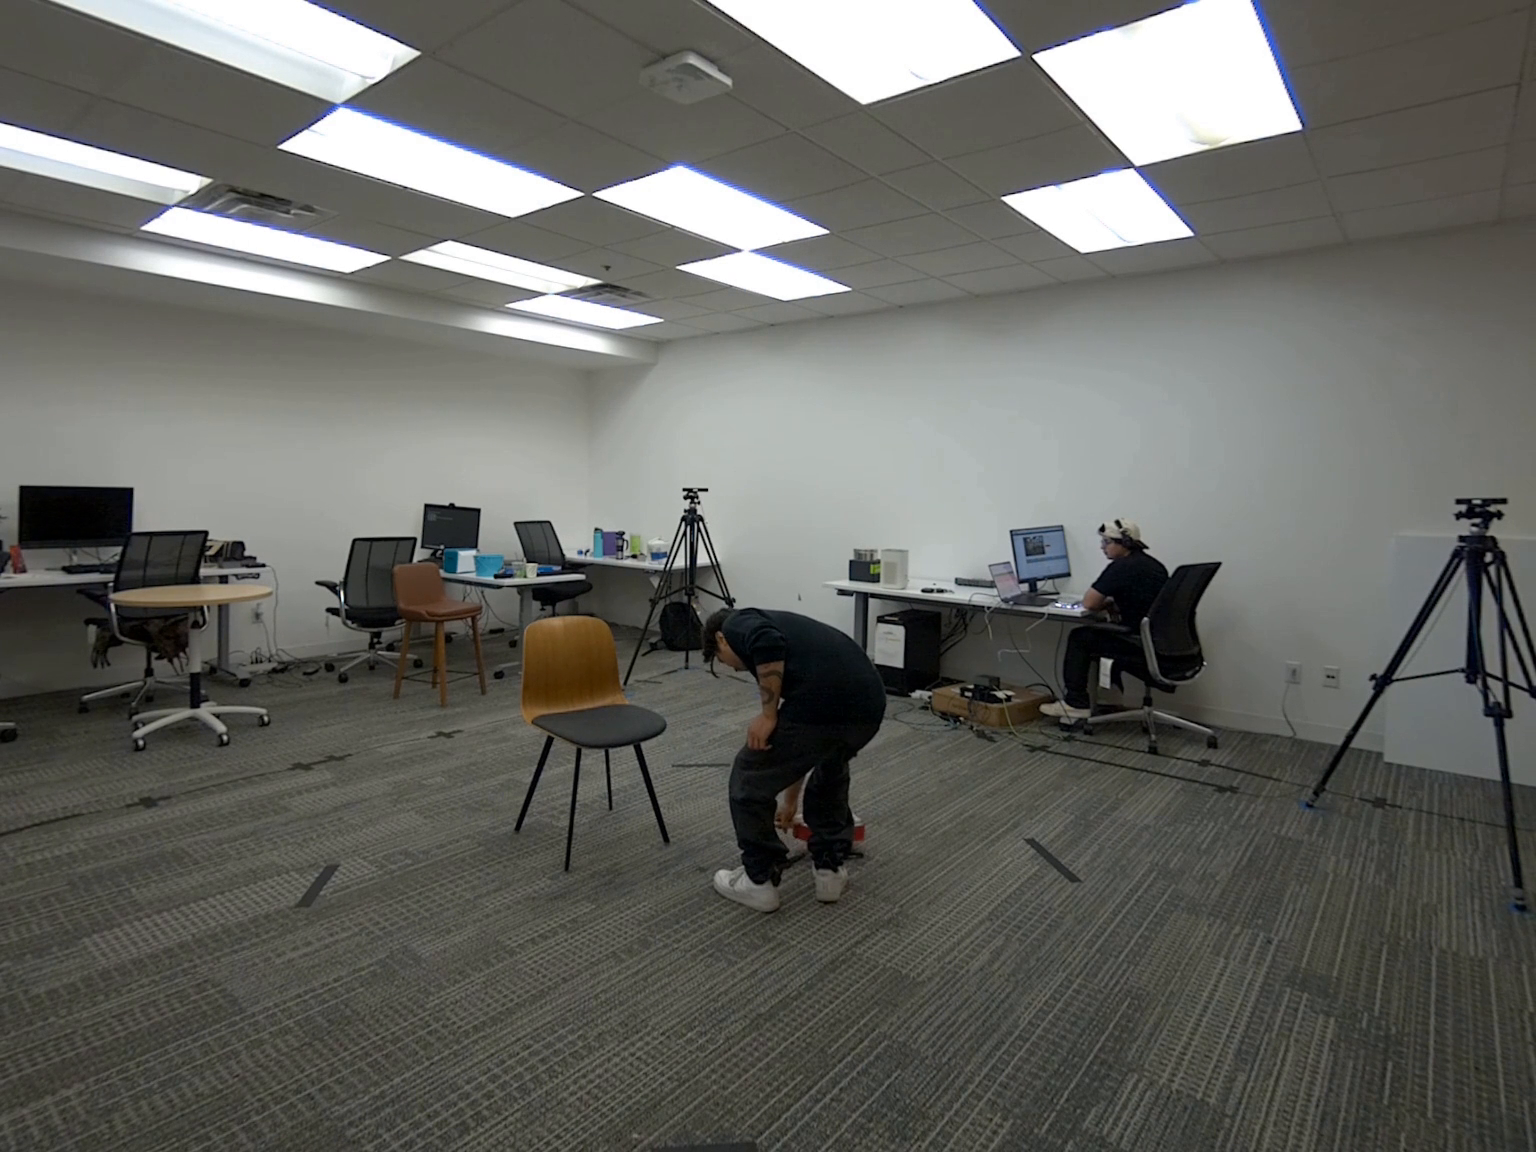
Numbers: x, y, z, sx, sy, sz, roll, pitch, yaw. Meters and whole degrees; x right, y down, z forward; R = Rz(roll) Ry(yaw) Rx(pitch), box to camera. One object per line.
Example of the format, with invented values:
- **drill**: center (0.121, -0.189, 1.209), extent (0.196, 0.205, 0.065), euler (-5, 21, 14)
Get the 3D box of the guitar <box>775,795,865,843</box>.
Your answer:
- **guitar**: center (0.109, 0.956, 3.275), extent (0.494, 0.071, 0.195), euler (3, 2, -8)
